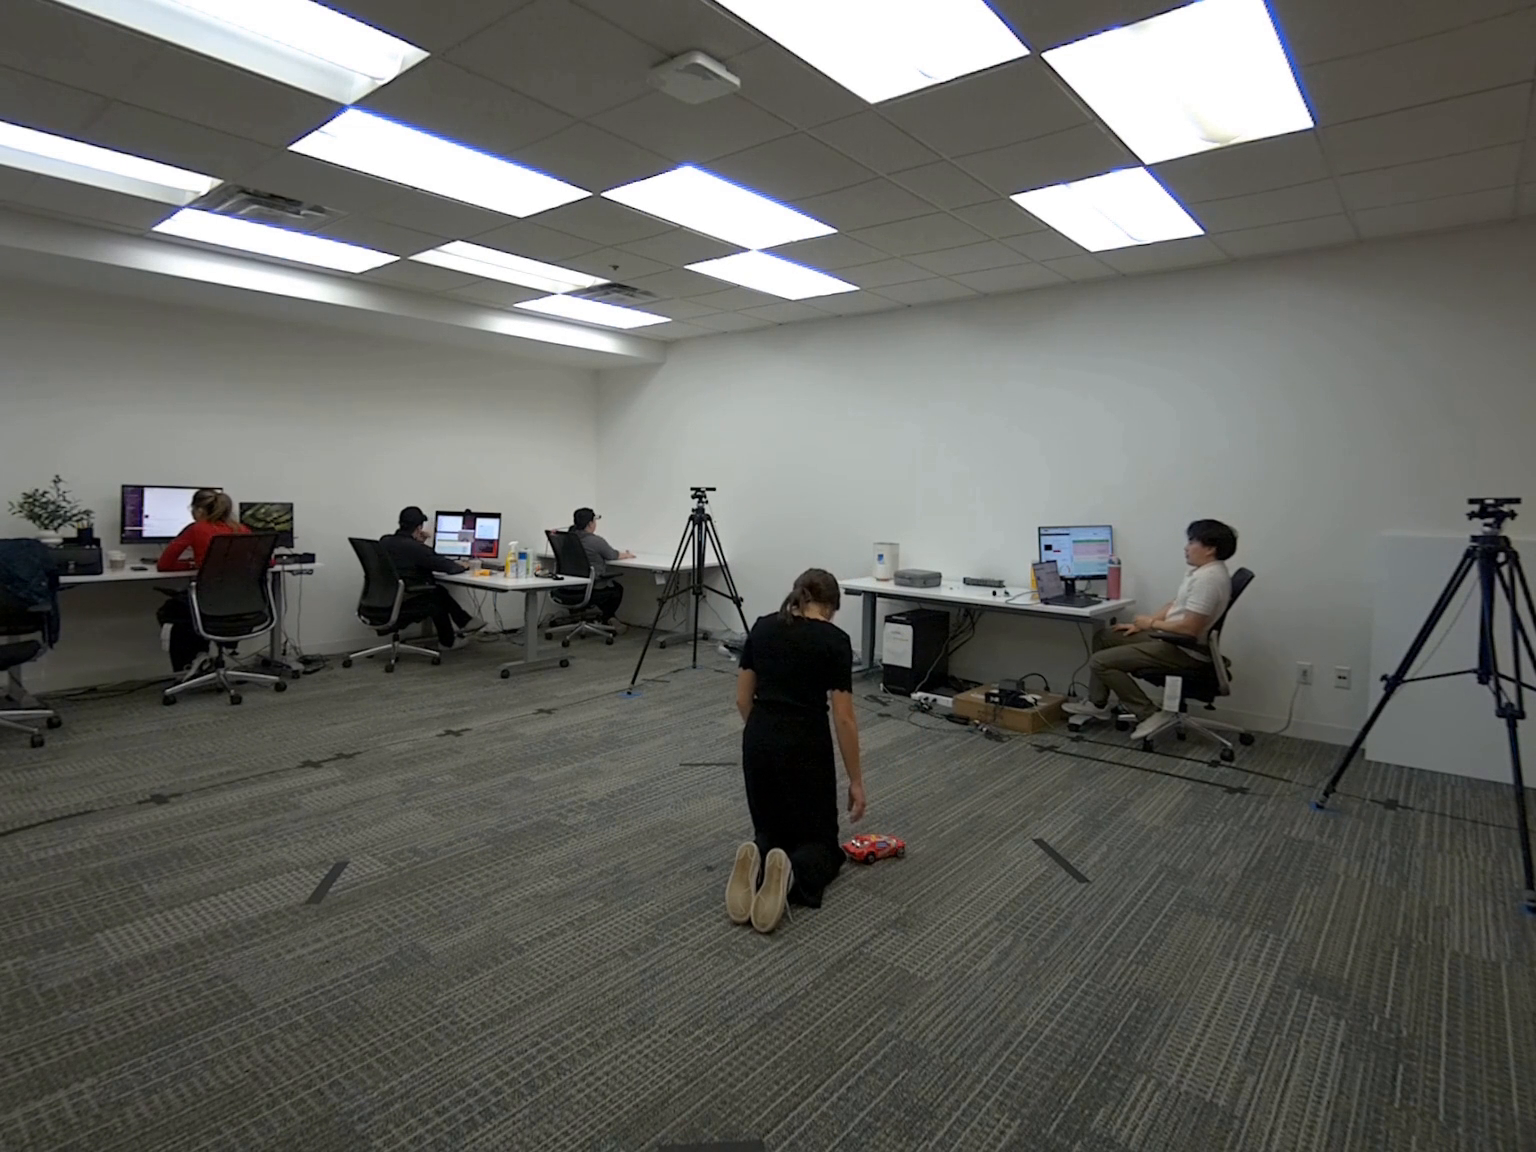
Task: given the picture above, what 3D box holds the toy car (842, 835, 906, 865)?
[{"bbox_3d":[0.393,1.038,3.234,0.247,0.083,0.134,11,1,-28],"label":"toy car"}]
